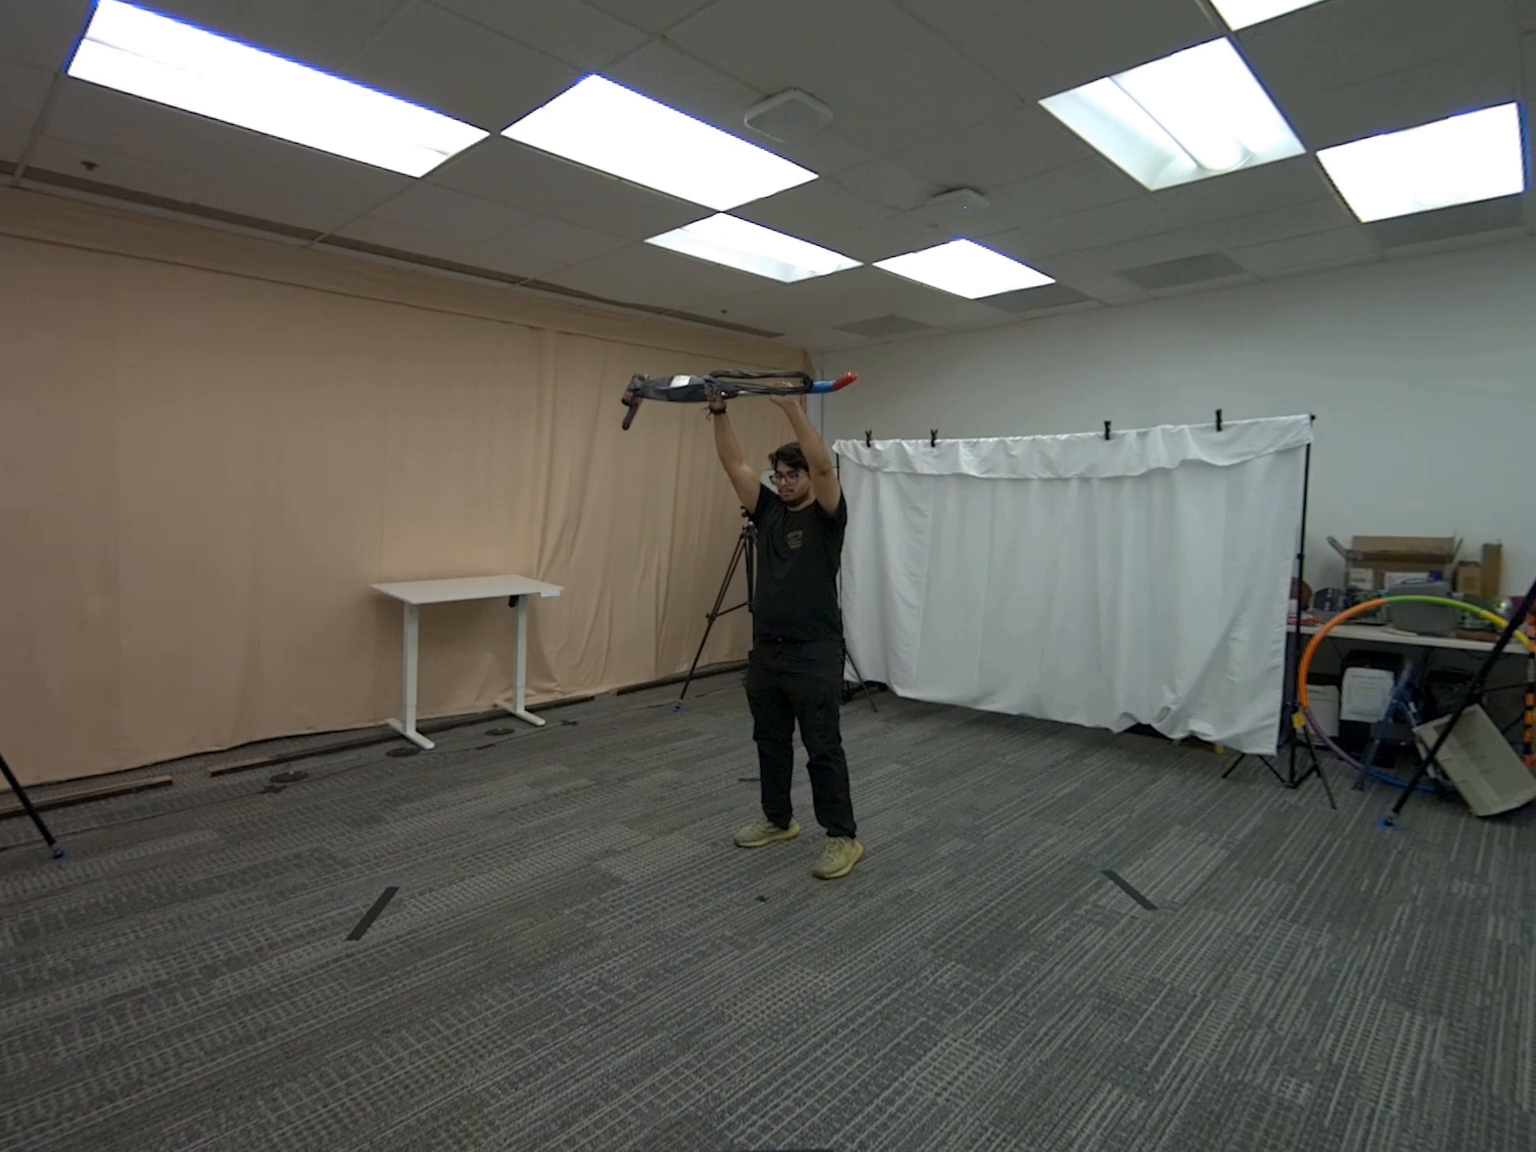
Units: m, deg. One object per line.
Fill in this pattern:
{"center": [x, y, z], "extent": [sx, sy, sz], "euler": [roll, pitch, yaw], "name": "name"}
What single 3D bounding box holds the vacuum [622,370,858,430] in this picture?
{"center": [-0.136, -0.694, 3.079], "extent": [1.084, 0.253, 0.139], "euler": [4, -30, 39], "name": "vacuum"}
